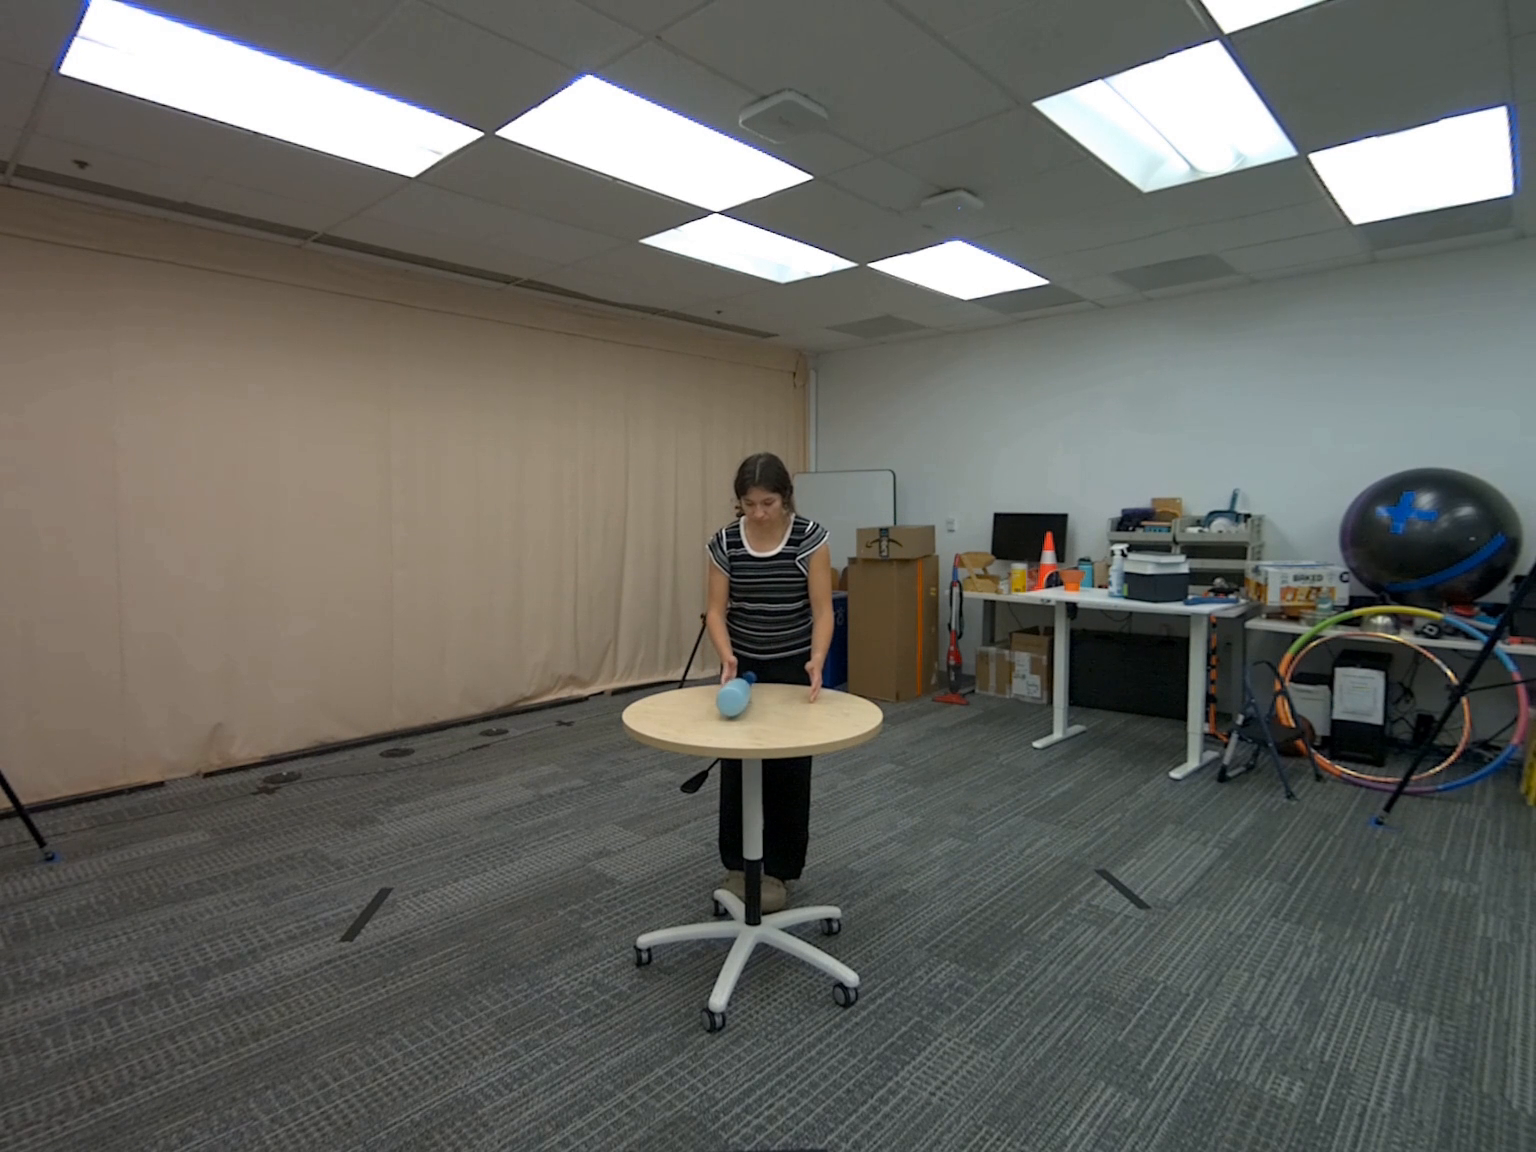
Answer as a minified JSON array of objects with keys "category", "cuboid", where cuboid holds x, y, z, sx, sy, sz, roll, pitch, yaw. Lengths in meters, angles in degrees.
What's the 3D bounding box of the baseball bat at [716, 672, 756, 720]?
[{"category":"baseball bat","cuboid":[-0.080,0.356,2.641,0.089,0.089,0.539,0,1,4]}]
